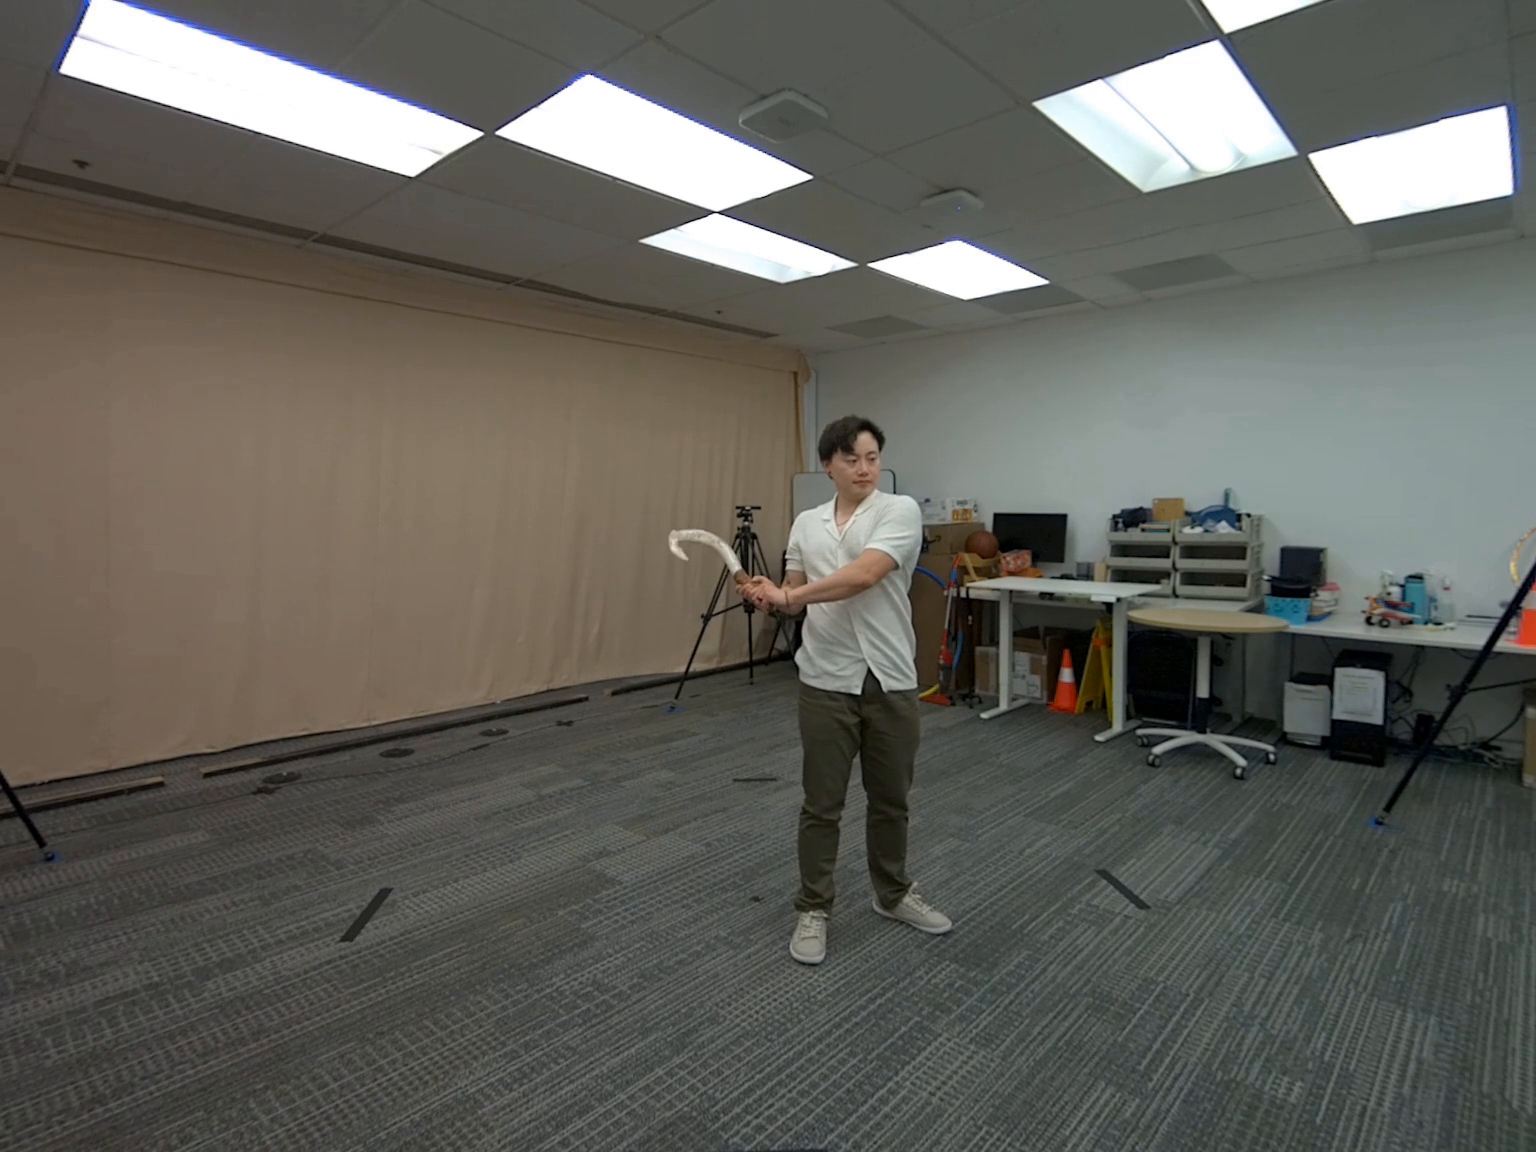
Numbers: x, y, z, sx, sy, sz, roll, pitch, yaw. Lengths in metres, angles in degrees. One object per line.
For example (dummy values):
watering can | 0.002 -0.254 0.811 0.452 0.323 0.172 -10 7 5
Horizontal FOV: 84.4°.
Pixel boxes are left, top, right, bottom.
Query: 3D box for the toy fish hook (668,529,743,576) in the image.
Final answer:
toy fish hook | -0.146 -0.020 2.628 0.219 0.048 0.525 -7 33 -31
